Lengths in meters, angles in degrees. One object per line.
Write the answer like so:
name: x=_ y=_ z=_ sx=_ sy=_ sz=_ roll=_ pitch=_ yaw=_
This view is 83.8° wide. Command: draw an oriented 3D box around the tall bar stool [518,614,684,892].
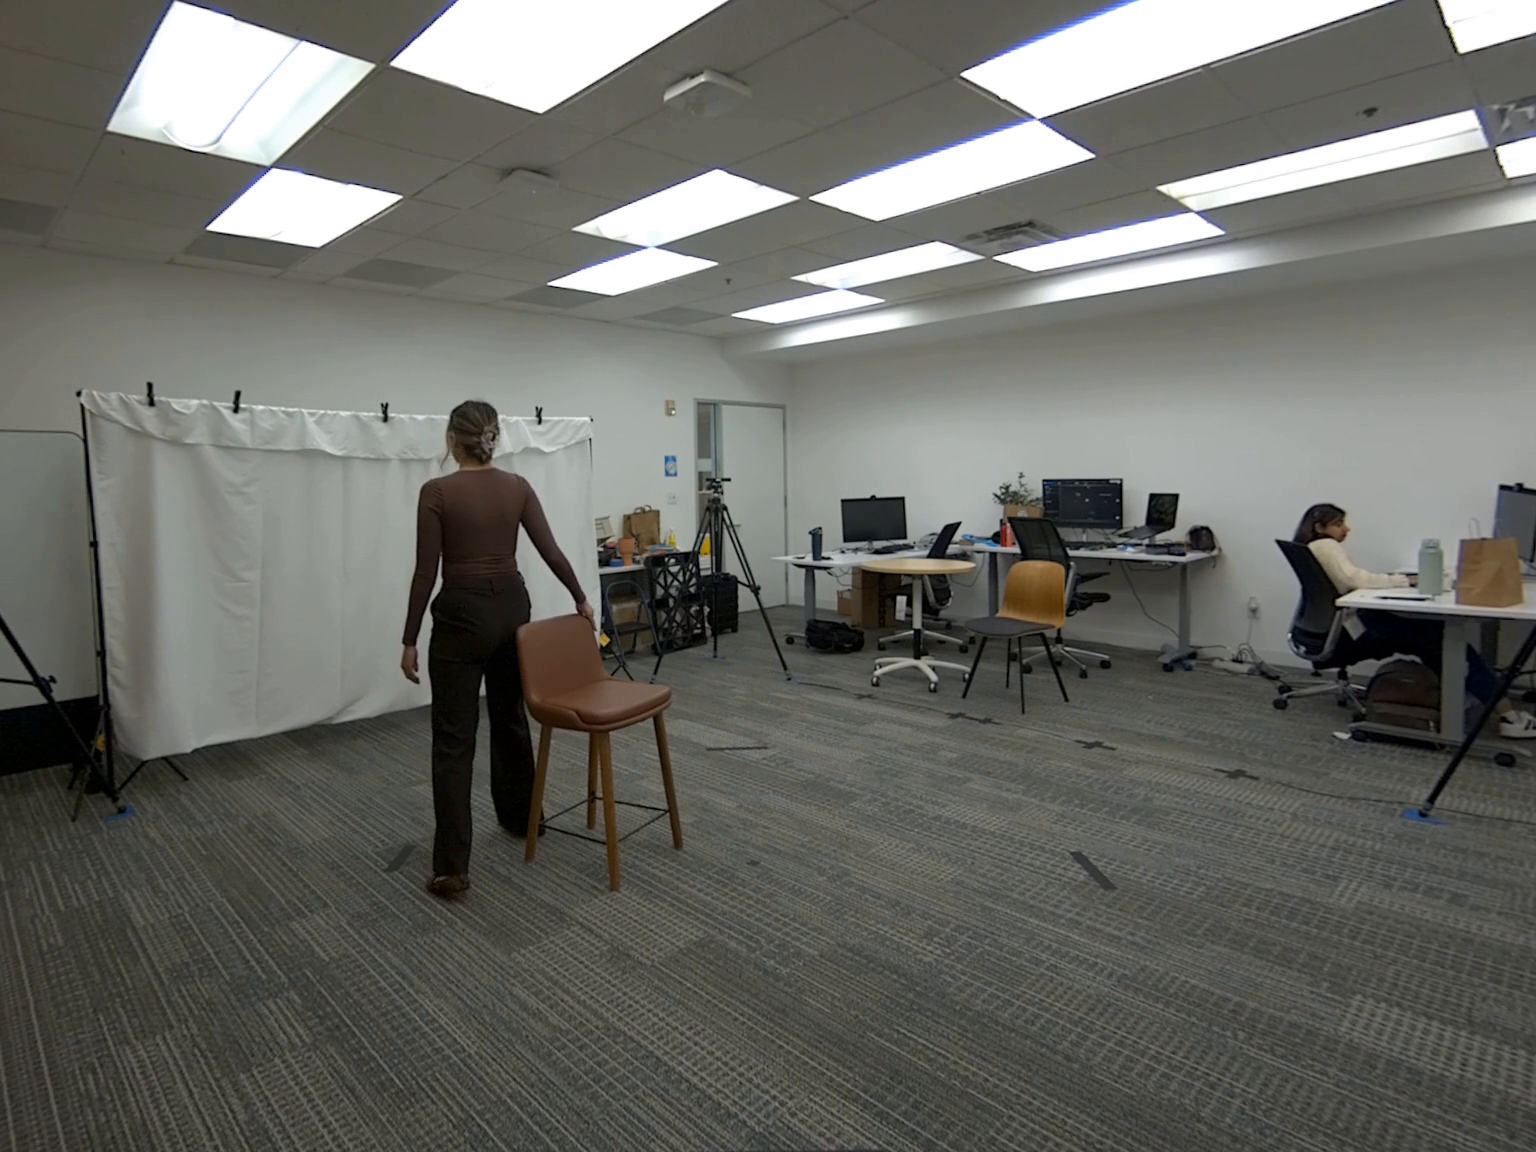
tall bar stool: x=-0.628 y=0.604 z=3.175 sx=0.480 sy=0.888 sz=0.446 roll=-1 pitch=3 yaw=32
